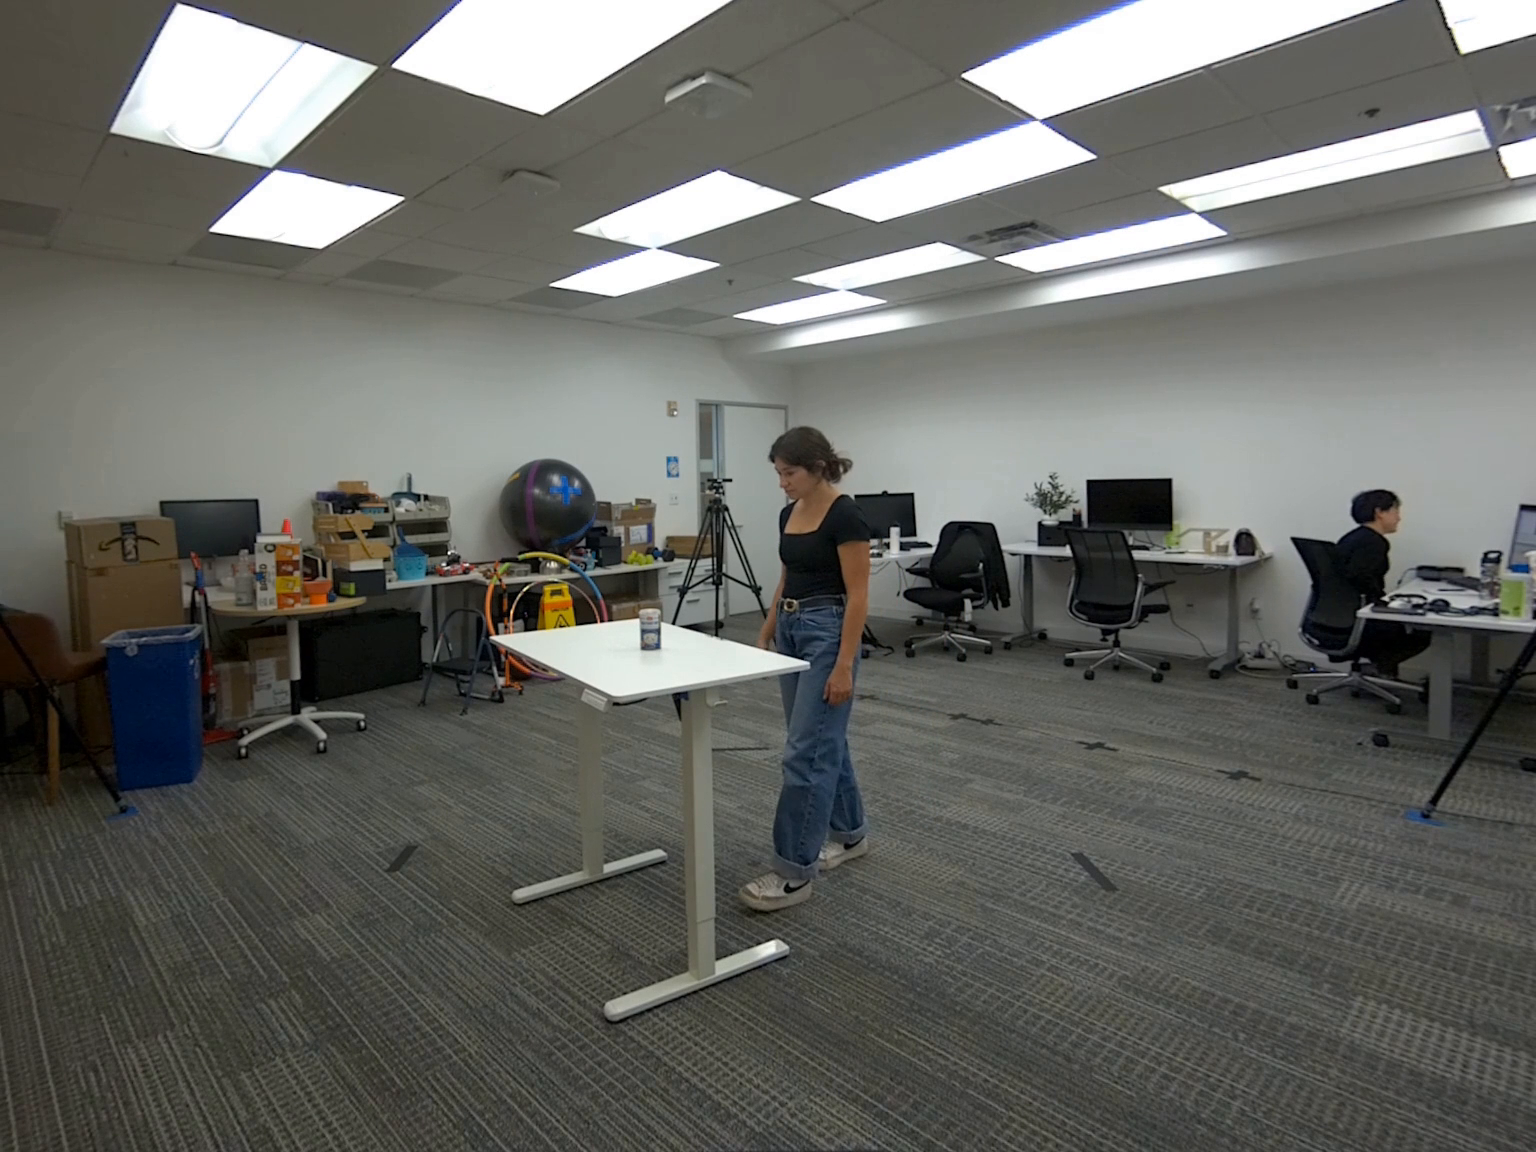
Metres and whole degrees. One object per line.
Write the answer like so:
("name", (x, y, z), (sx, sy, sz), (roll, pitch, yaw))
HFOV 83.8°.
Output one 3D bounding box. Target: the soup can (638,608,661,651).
("soup can", (-0.362, 0.168, 2.625), (0.067, 0.121, 0.067), (-1, 2, -2))
